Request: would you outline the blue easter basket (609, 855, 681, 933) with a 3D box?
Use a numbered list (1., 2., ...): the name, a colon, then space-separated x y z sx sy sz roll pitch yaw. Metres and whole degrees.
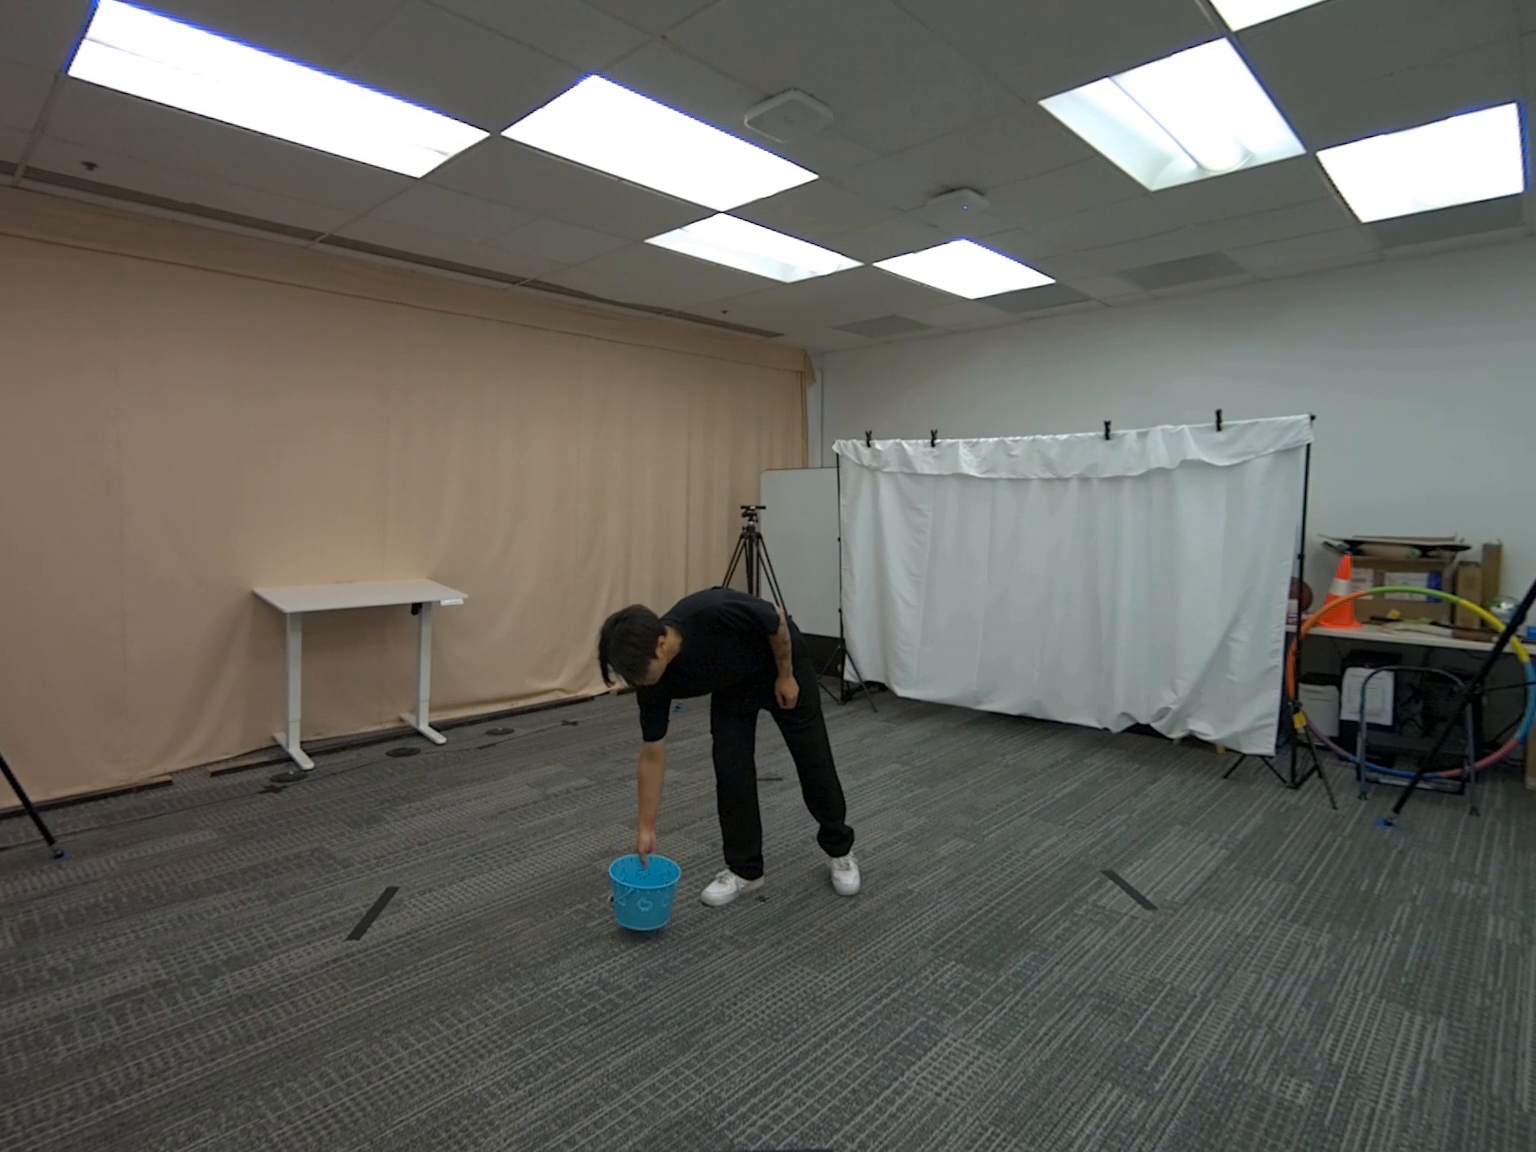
1. blue easter basket: -0.407 1.027 2.735 0.243 0.155 0.245 4 6 -2
